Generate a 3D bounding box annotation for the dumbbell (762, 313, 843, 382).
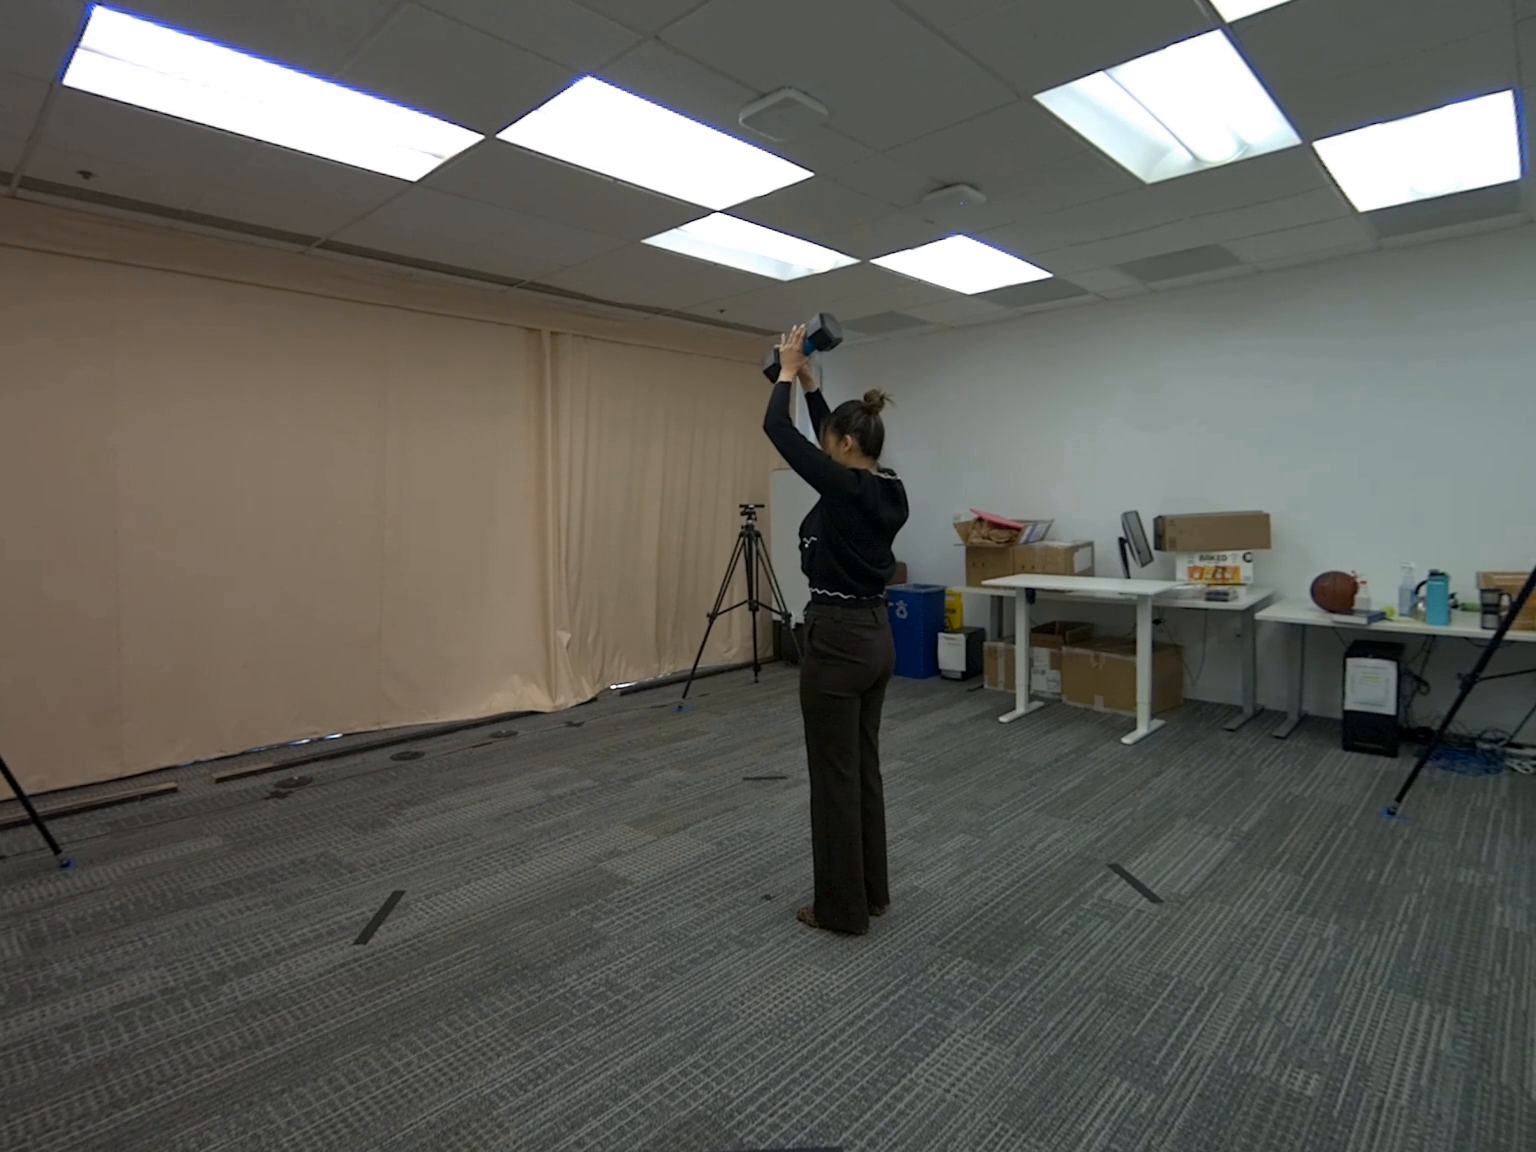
[{"bbox_3d":[0.119,-0.762,2.827,0.105,0.125,0.299,20,-36,-39],"label":"dumbbell"}]
